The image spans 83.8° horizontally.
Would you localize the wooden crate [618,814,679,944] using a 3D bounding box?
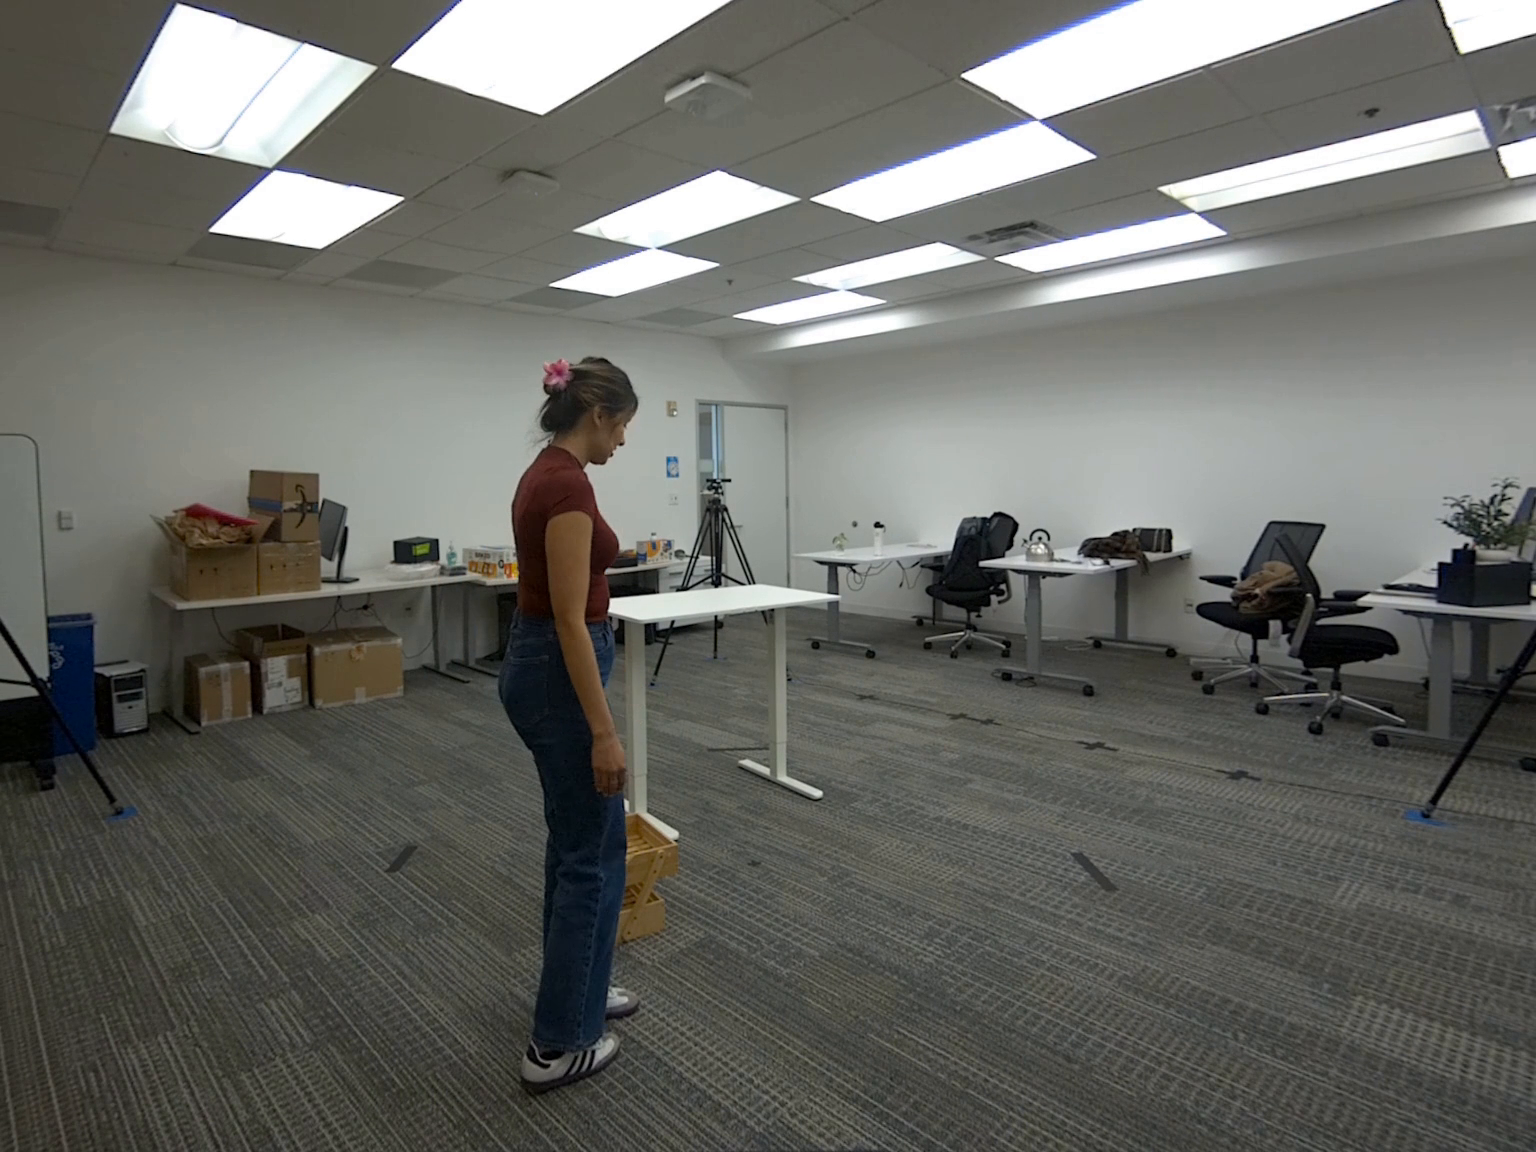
[{"bbox_3d":[-0.483,0.964,2.736,0.295,0.272,0.334,-4,6,-31],"label":"wooden crate"}]
